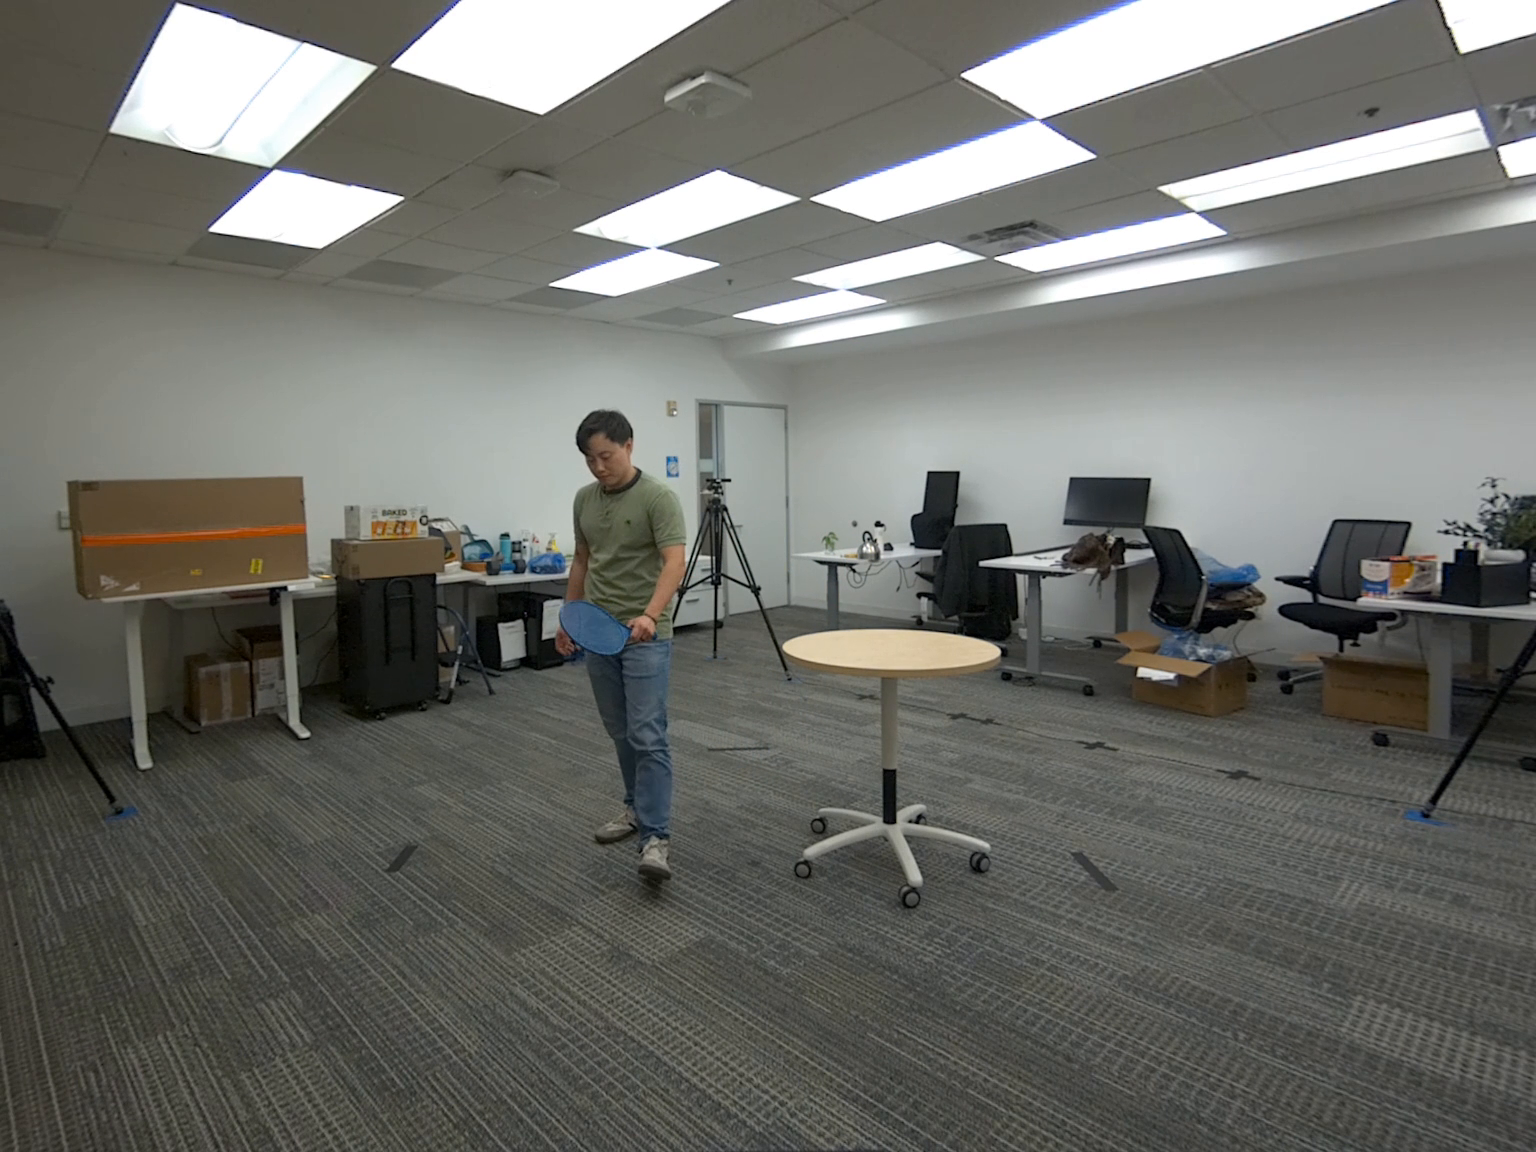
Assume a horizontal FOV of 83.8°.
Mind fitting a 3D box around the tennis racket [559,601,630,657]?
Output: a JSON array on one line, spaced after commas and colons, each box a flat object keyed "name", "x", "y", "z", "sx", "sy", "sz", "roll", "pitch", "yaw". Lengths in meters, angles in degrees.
[{"name": "tennis racket", "x": -0.531, "y": 0.188, "z": 2.810, "sx": 0.032, "sy": 0.220, "sz": 0.418, "roll": -39, "pitch": -28, "yaw": 20}]
